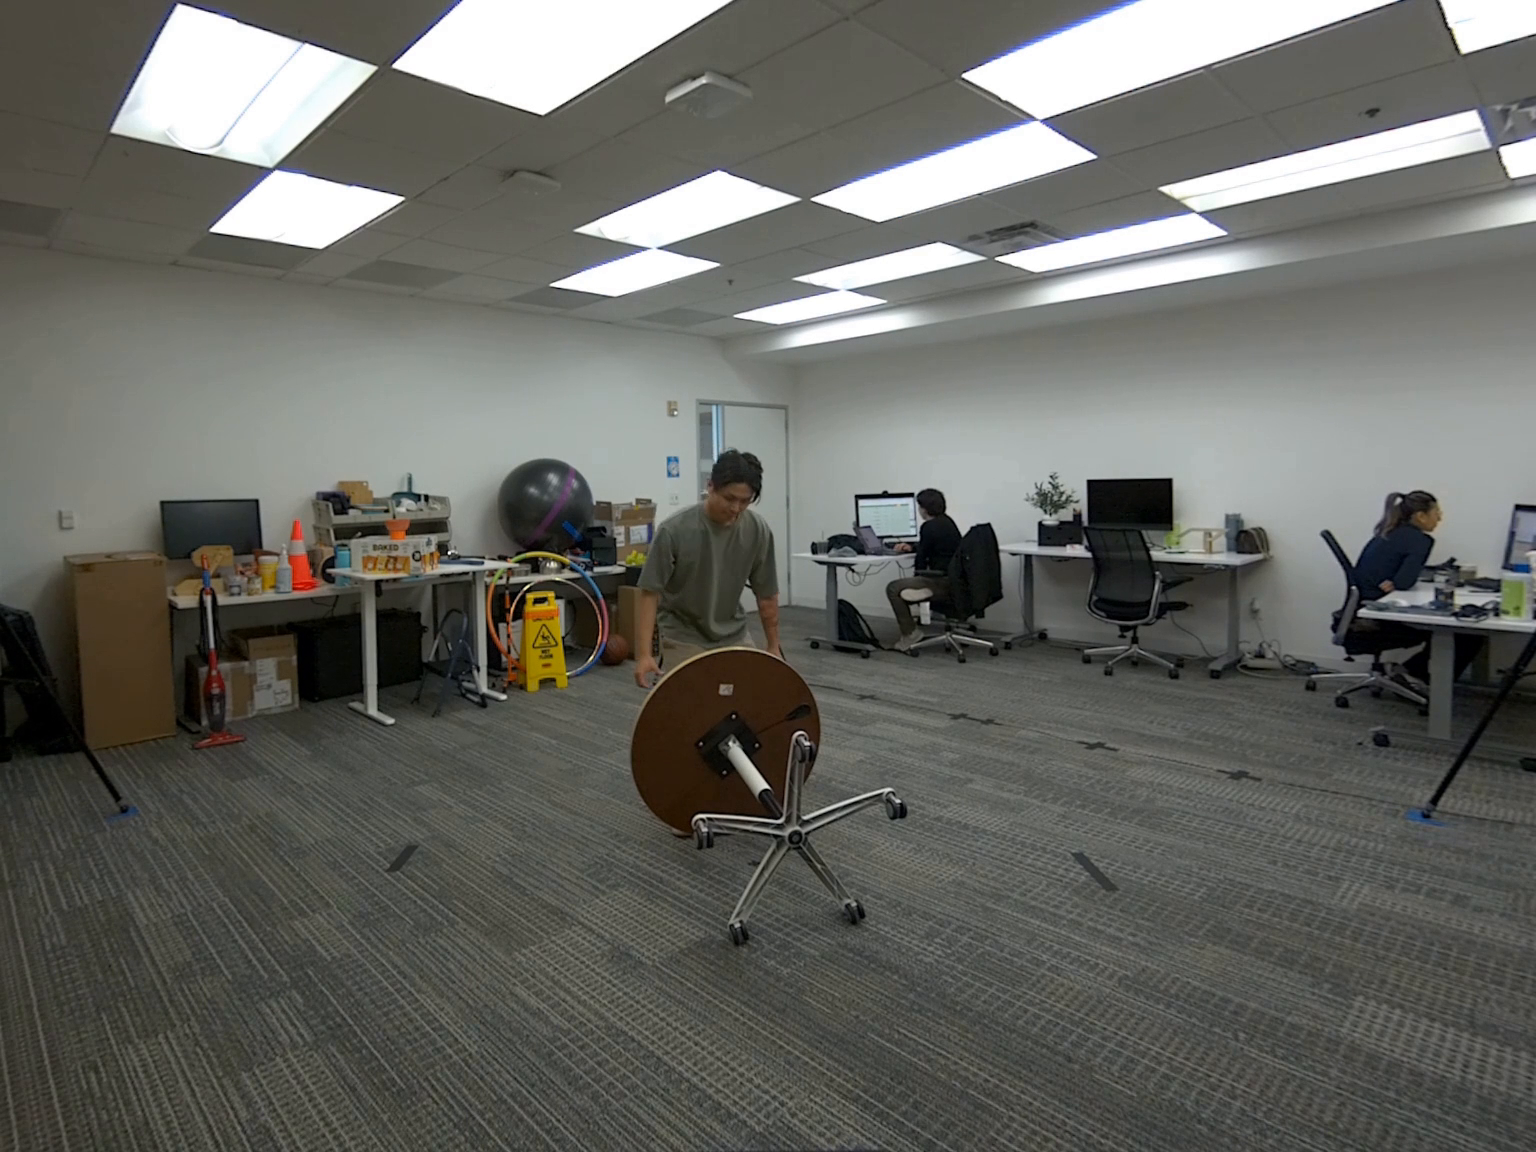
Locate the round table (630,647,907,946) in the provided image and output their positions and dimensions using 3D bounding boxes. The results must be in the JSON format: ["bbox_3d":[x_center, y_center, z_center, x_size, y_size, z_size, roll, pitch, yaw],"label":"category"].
[{"bbox_3d":[-0.029,0.731,2.928,0.773,0.777,0.807,-2,12,-18],"label":"round table"}]
